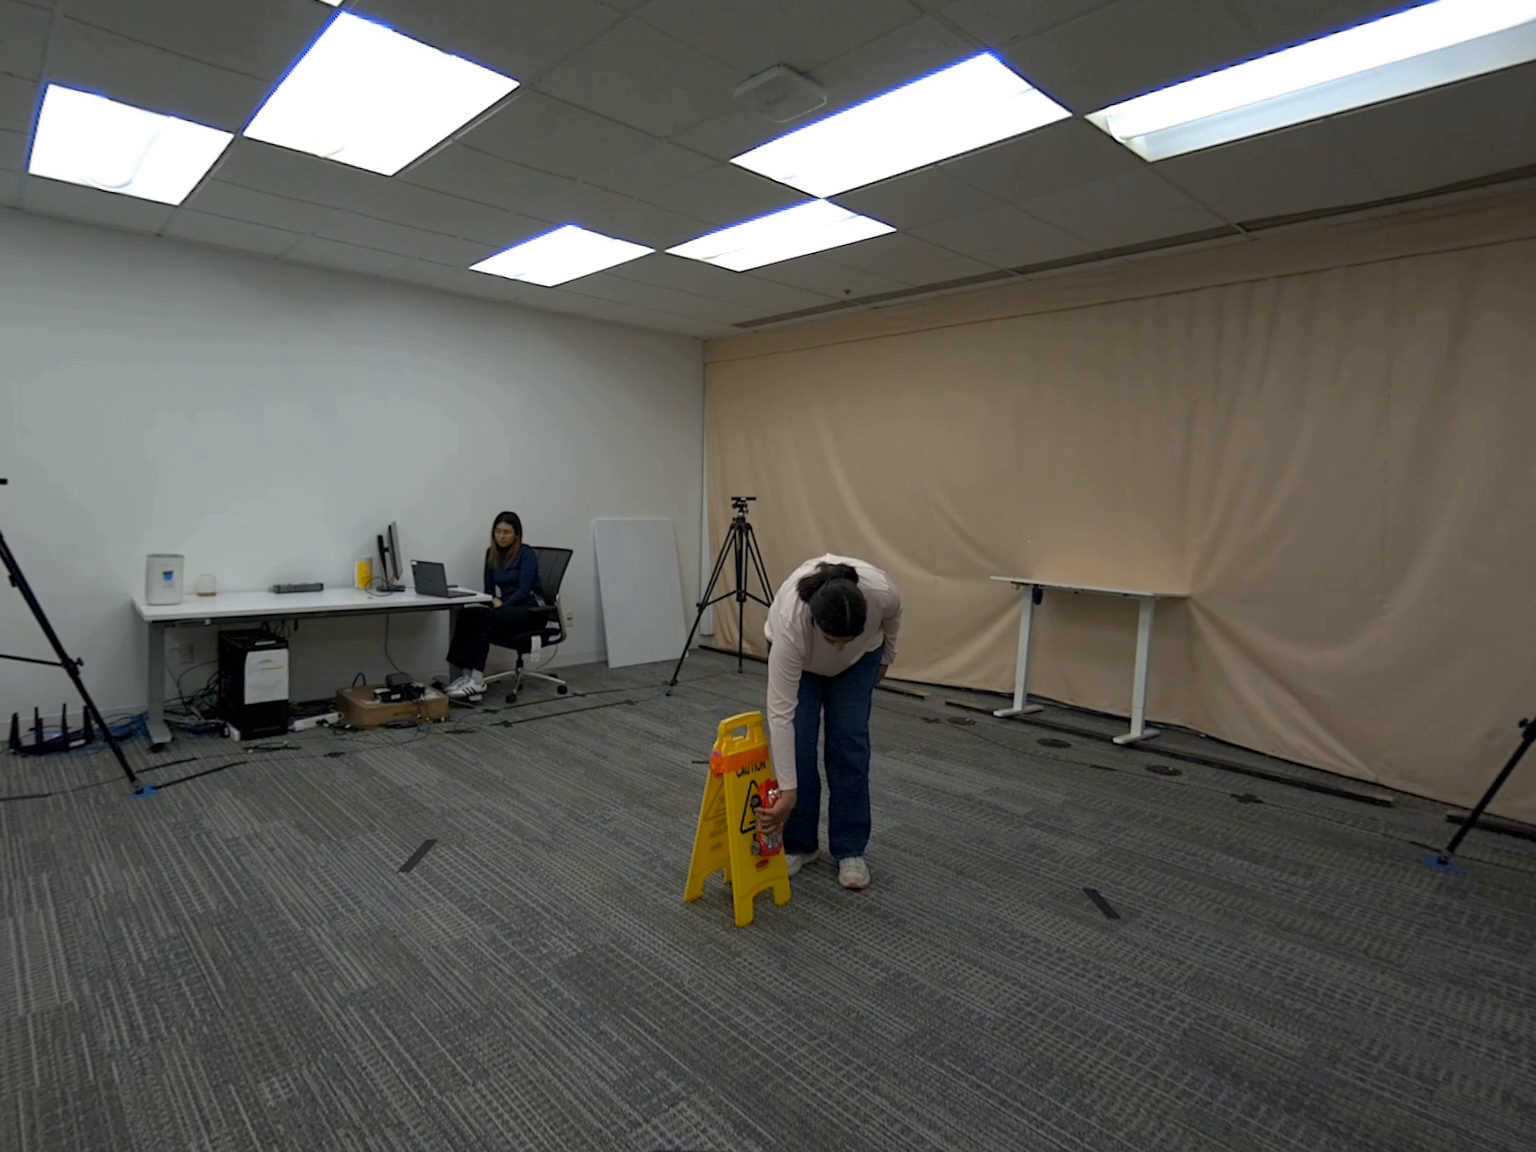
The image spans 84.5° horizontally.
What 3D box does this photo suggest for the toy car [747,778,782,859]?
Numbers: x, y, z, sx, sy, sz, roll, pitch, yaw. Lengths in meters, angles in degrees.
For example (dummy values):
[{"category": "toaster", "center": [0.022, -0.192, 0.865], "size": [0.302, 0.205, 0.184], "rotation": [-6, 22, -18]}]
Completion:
[{"category": "toy car", "center": [-0.023, 0.819, 2.847], "size": [0.085, 0.255, 0.127], "rotation": [5, -4, 38]}]
